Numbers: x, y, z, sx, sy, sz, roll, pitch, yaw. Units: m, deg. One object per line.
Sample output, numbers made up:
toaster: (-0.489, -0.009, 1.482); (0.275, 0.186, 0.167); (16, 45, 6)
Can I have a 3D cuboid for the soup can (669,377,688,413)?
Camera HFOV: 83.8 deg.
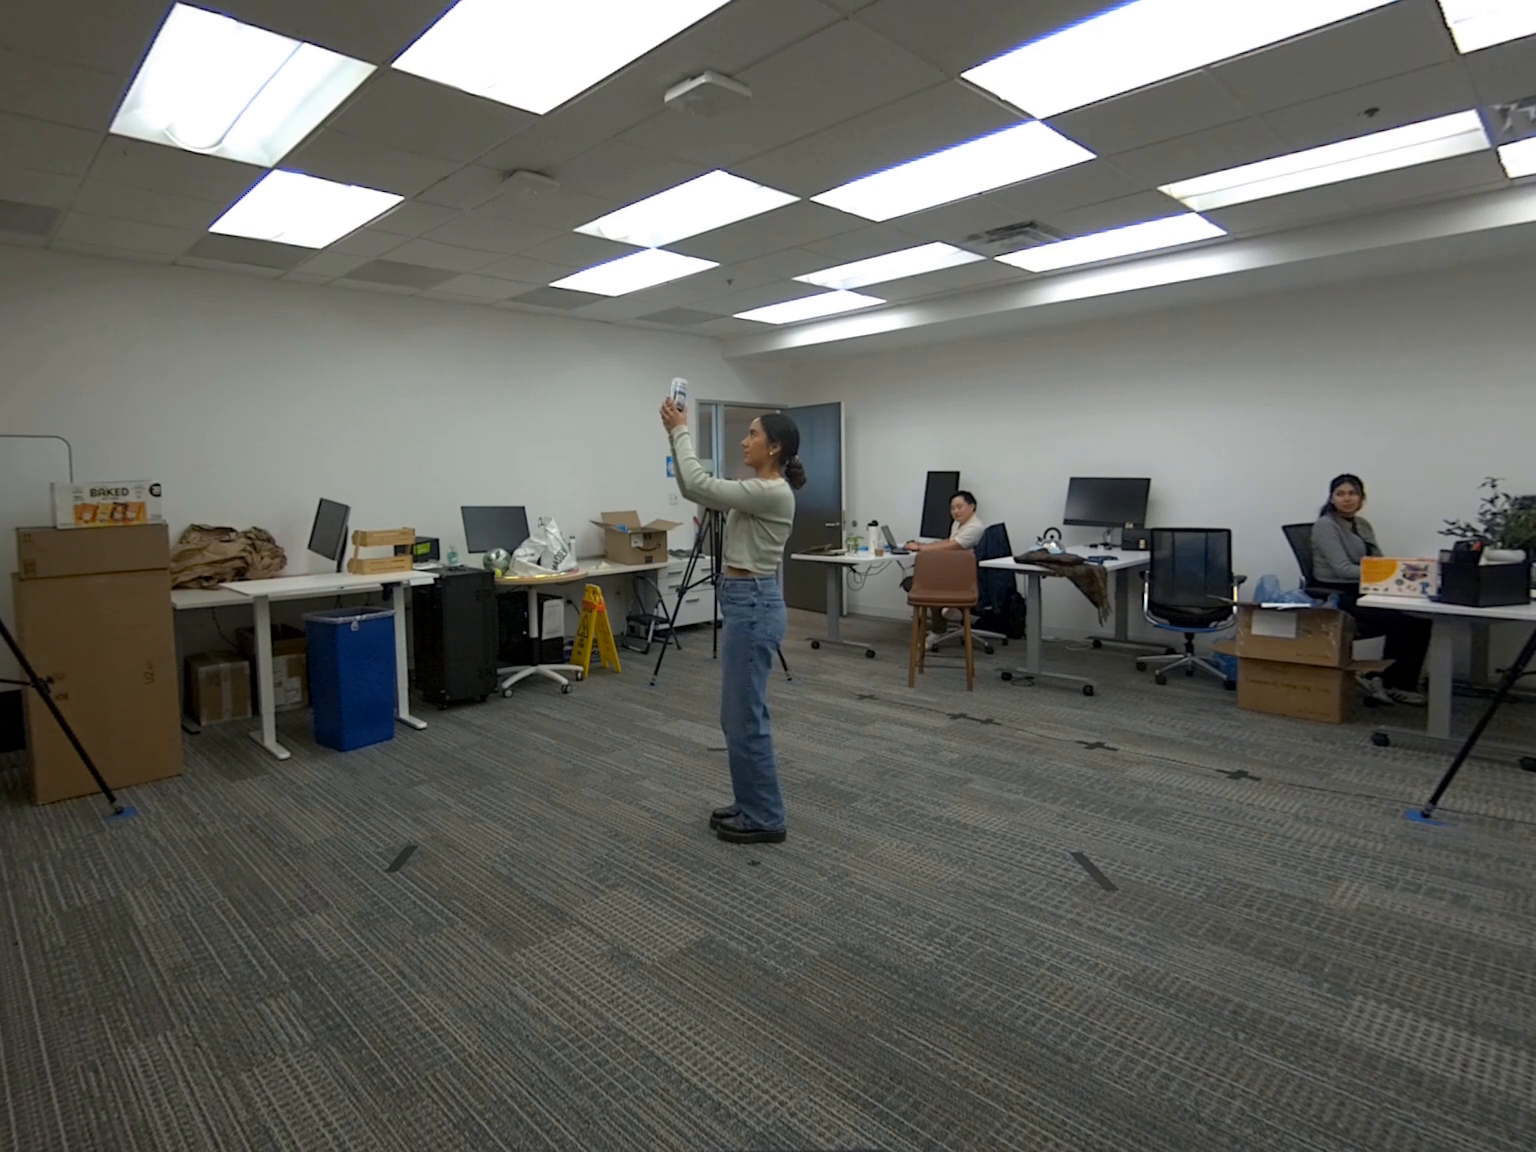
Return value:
soup can: (-0.355, -0.706, 3.341); (0.067, 0.122, 0.066); (6, -9, -1)
